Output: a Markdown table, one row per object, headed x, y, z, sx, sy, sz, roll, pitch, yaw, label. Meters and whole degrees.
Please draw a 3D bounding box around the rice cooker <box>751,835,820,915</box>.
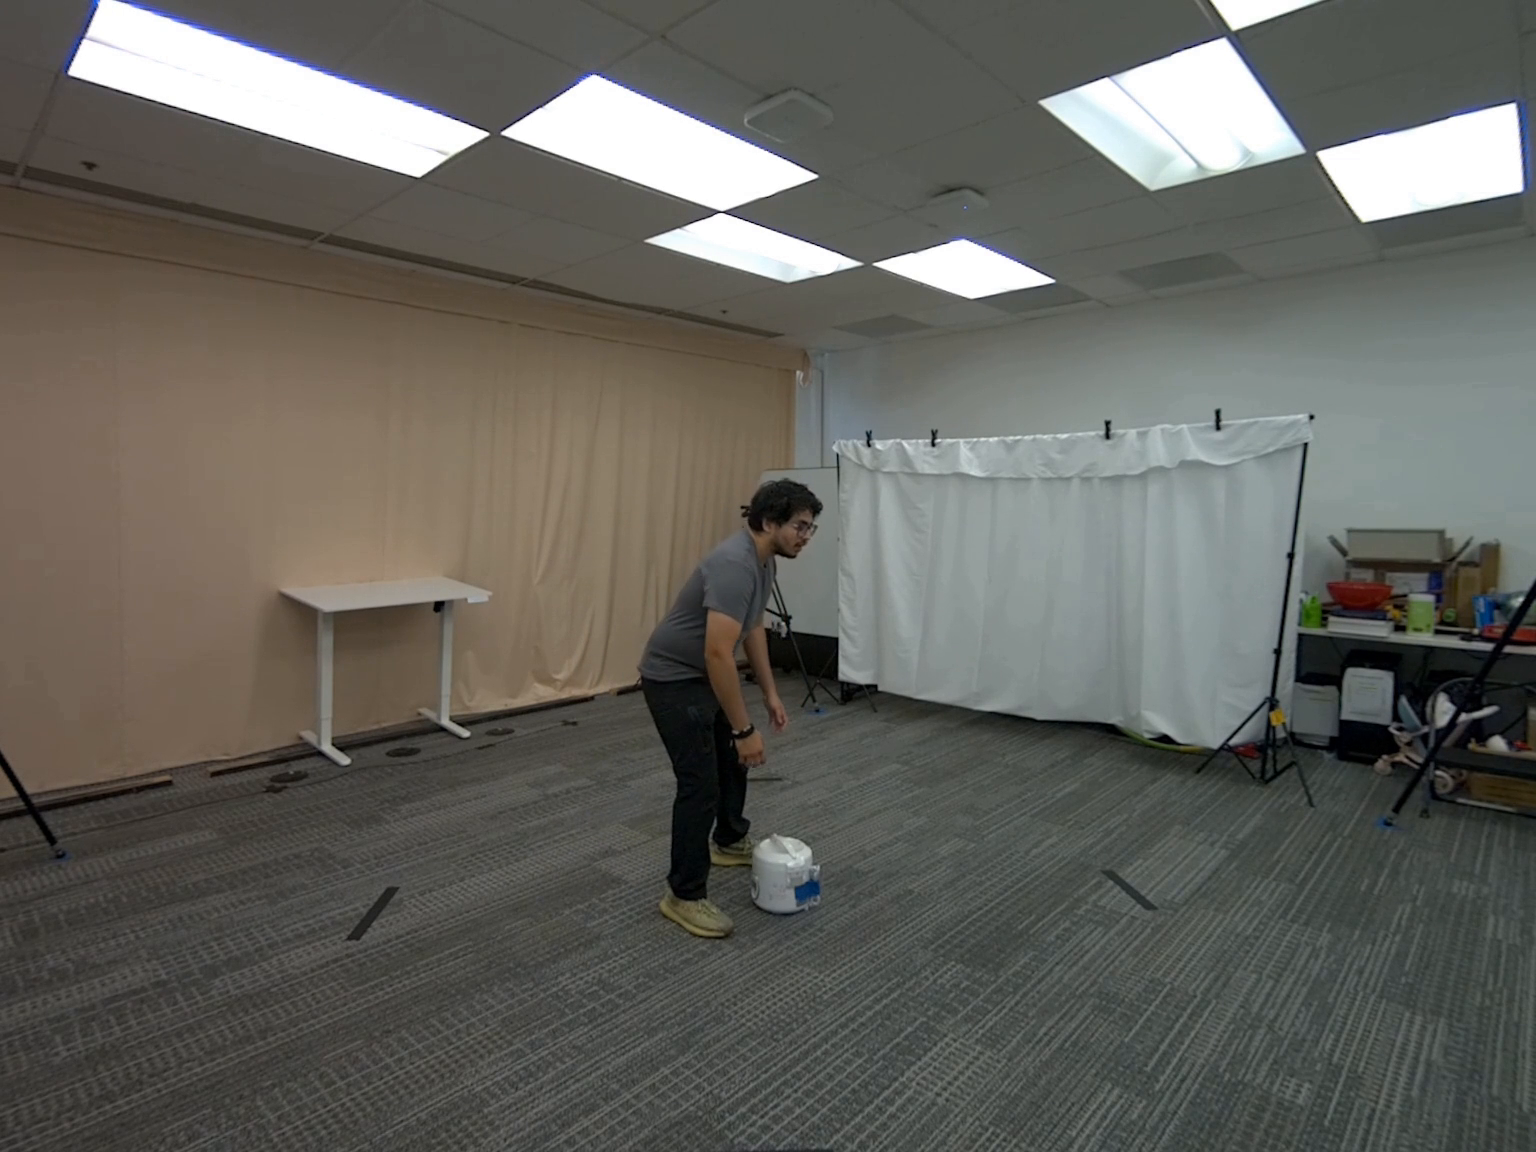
| x | y | z | sx | sy | sz | roll | pitch | yaw | label |
| --- | --- | --- | --- | --- | --- | --- | --- | --- | --- |
| 0.053 | 1.029 | 2.935 | 0.213 | 0.232 | 0.226 | -1 | 3 | -23 | rice cooker |
